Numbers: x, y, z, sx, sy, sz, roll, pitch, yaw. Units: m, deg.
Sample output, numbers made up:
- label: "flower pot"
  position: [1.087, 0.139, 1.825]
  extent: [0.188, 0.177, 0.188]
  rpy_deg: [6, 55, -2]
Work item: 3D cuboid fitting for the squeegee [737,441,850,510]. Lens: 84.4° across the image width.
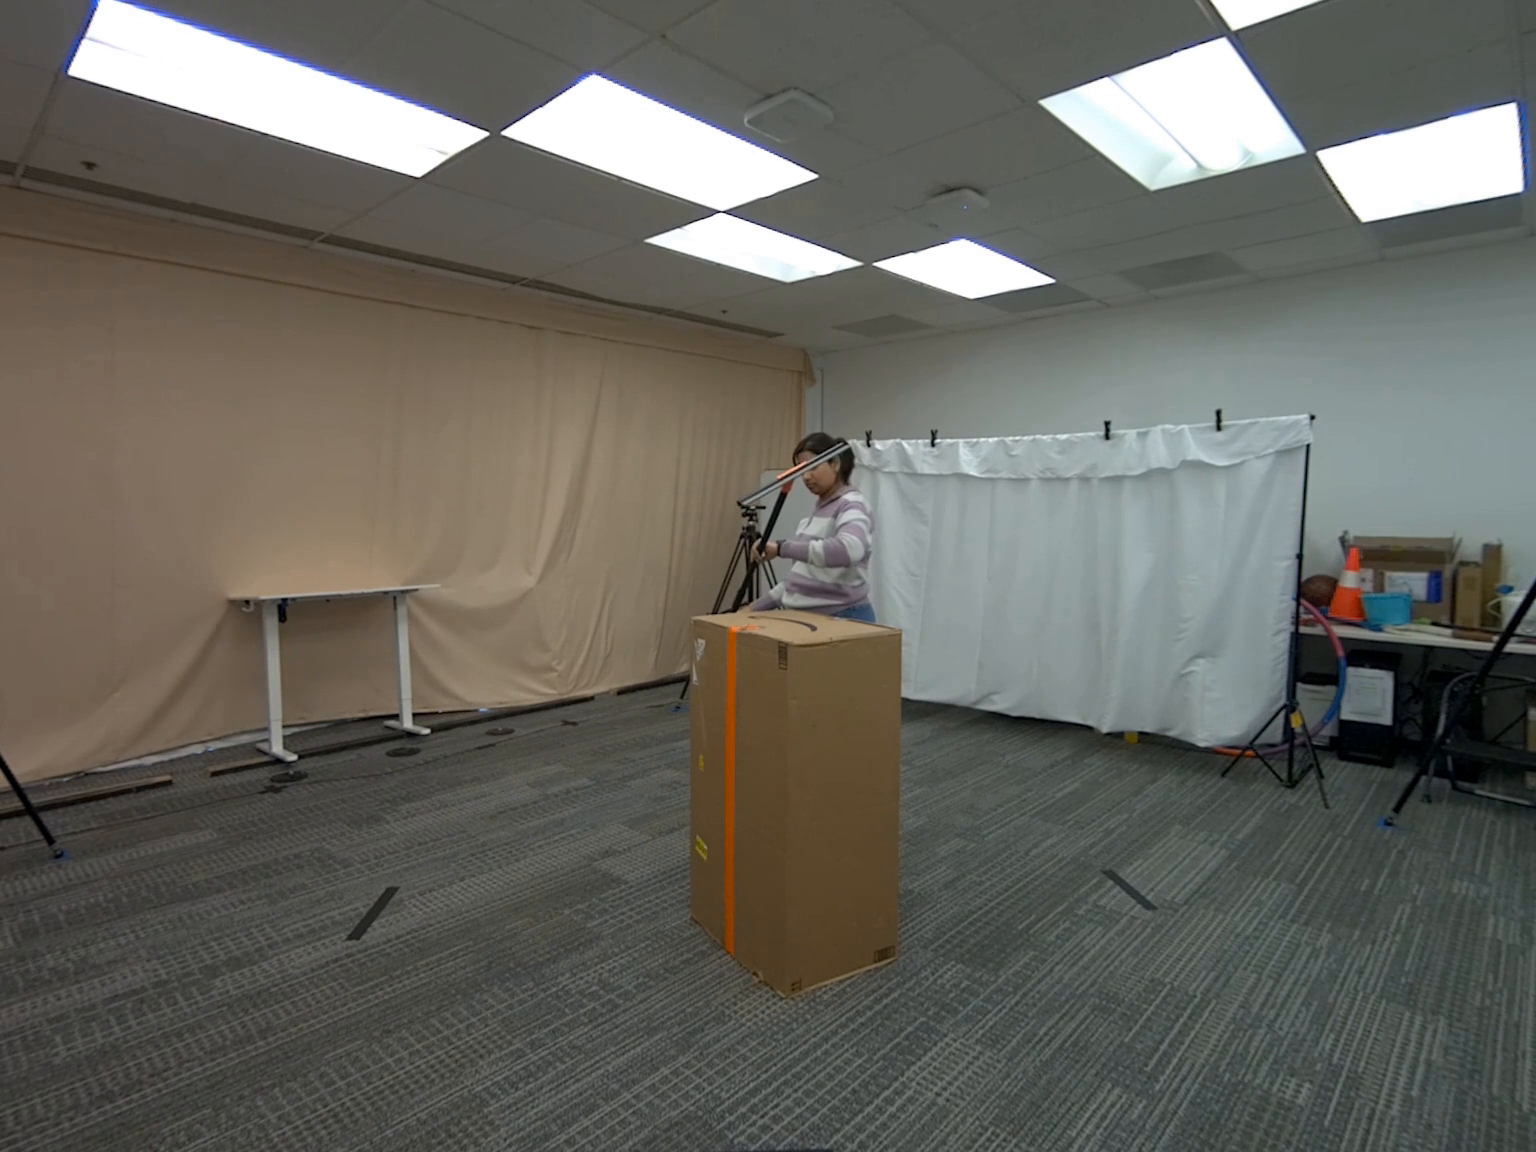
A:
- label: "squeegee"
  position: [-0.116, 0.014, 3.293]
  extent: [0.432, 0.054, 1.531]
  rpy_deg: [-34, -14, -27]
